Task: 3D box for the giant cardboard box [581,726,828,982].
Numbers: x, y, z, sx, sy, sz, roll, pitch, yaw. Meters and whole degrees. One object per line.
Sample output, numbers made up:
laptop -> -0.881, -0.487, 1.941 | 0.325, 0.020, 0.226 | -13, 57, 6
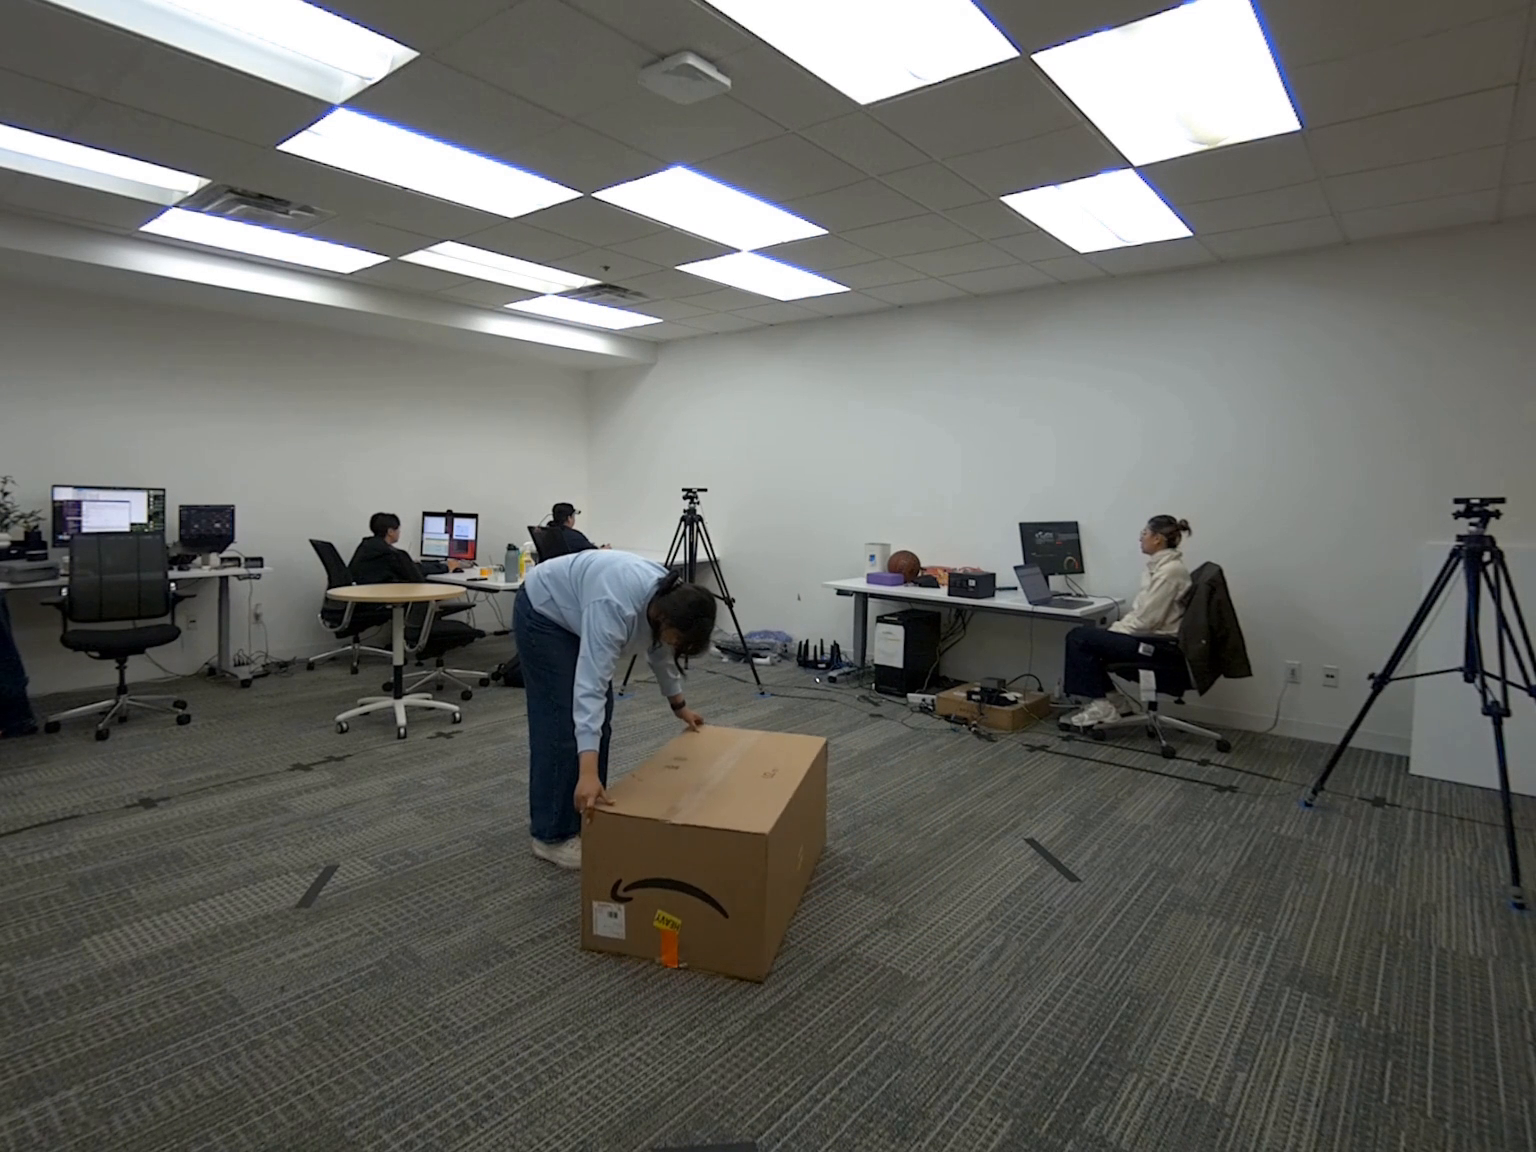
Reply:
giant cardboard box -> -0.172, 0.872, 2.940 | 0.587, 0.425, 1.011 | 1, 5, 15
